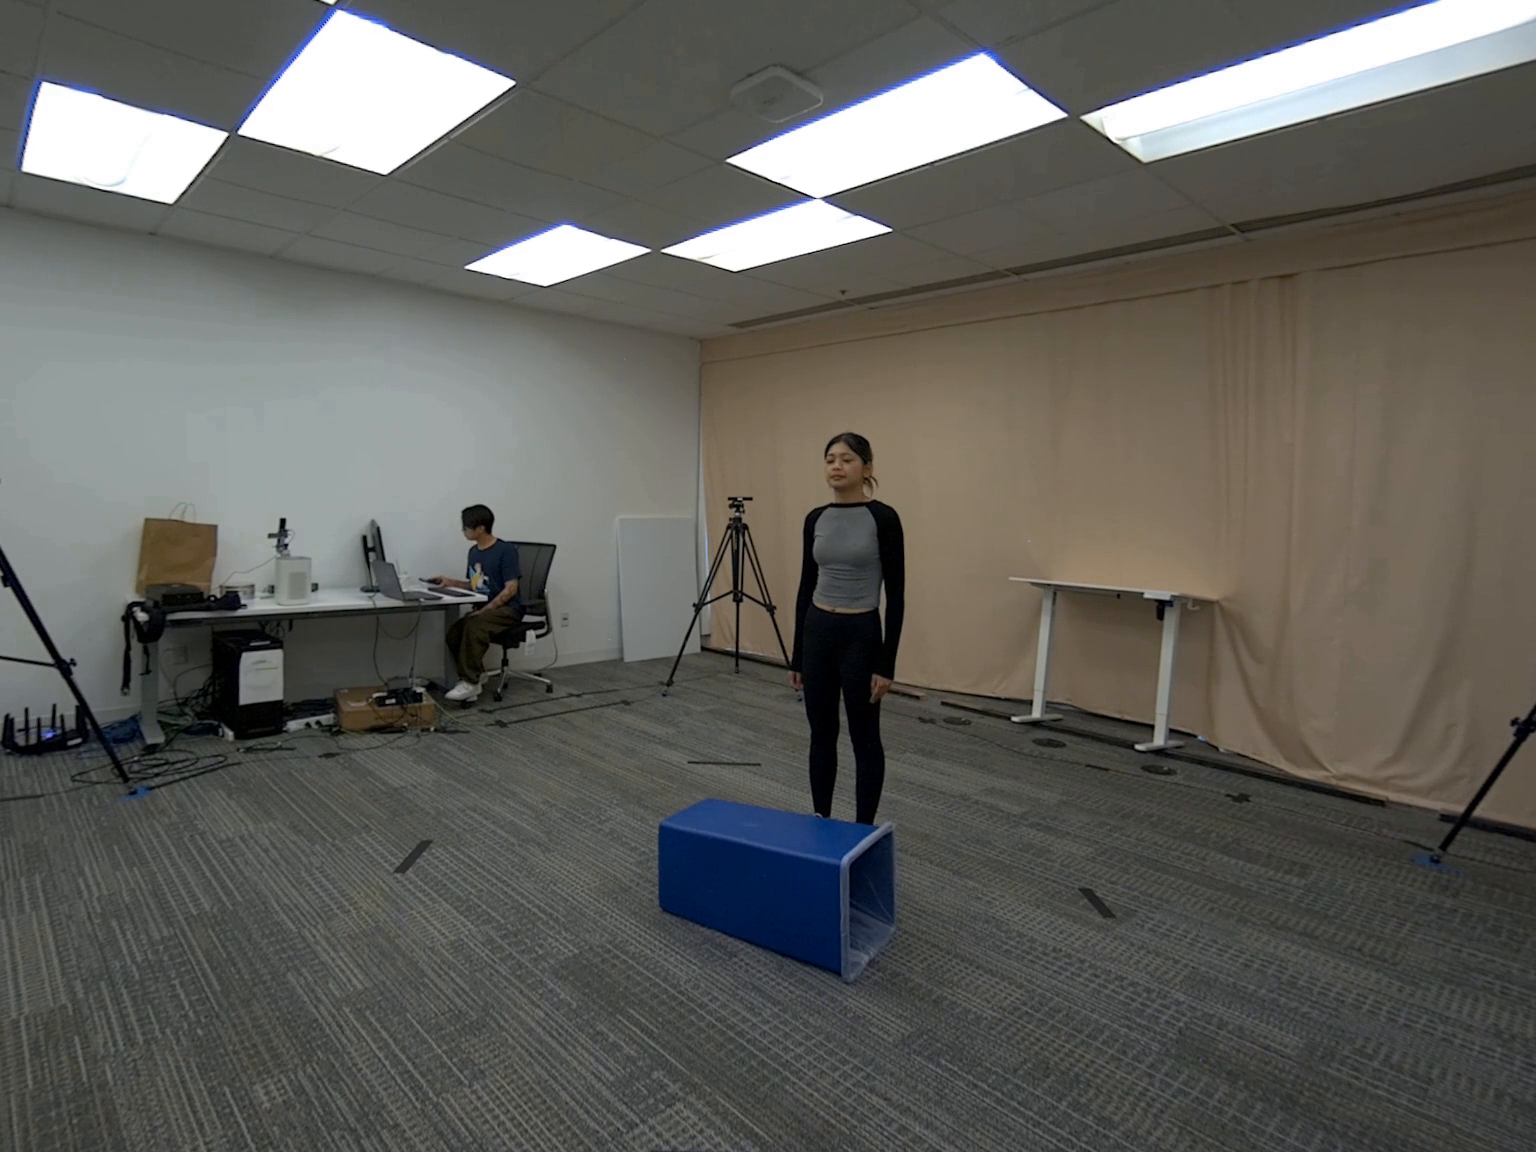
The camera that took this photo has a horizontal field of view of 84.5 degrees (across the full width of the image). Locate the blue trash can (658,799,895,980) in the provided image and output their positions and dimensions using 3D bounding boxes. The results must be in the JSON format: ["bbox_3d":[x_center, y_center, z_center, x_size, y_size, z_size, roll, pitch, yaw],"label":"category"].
[{"bbox_3d":[0.008,0.973,2.757,0.730,0.377,0.366,3,5,33],"label":"blue trash can"}]
